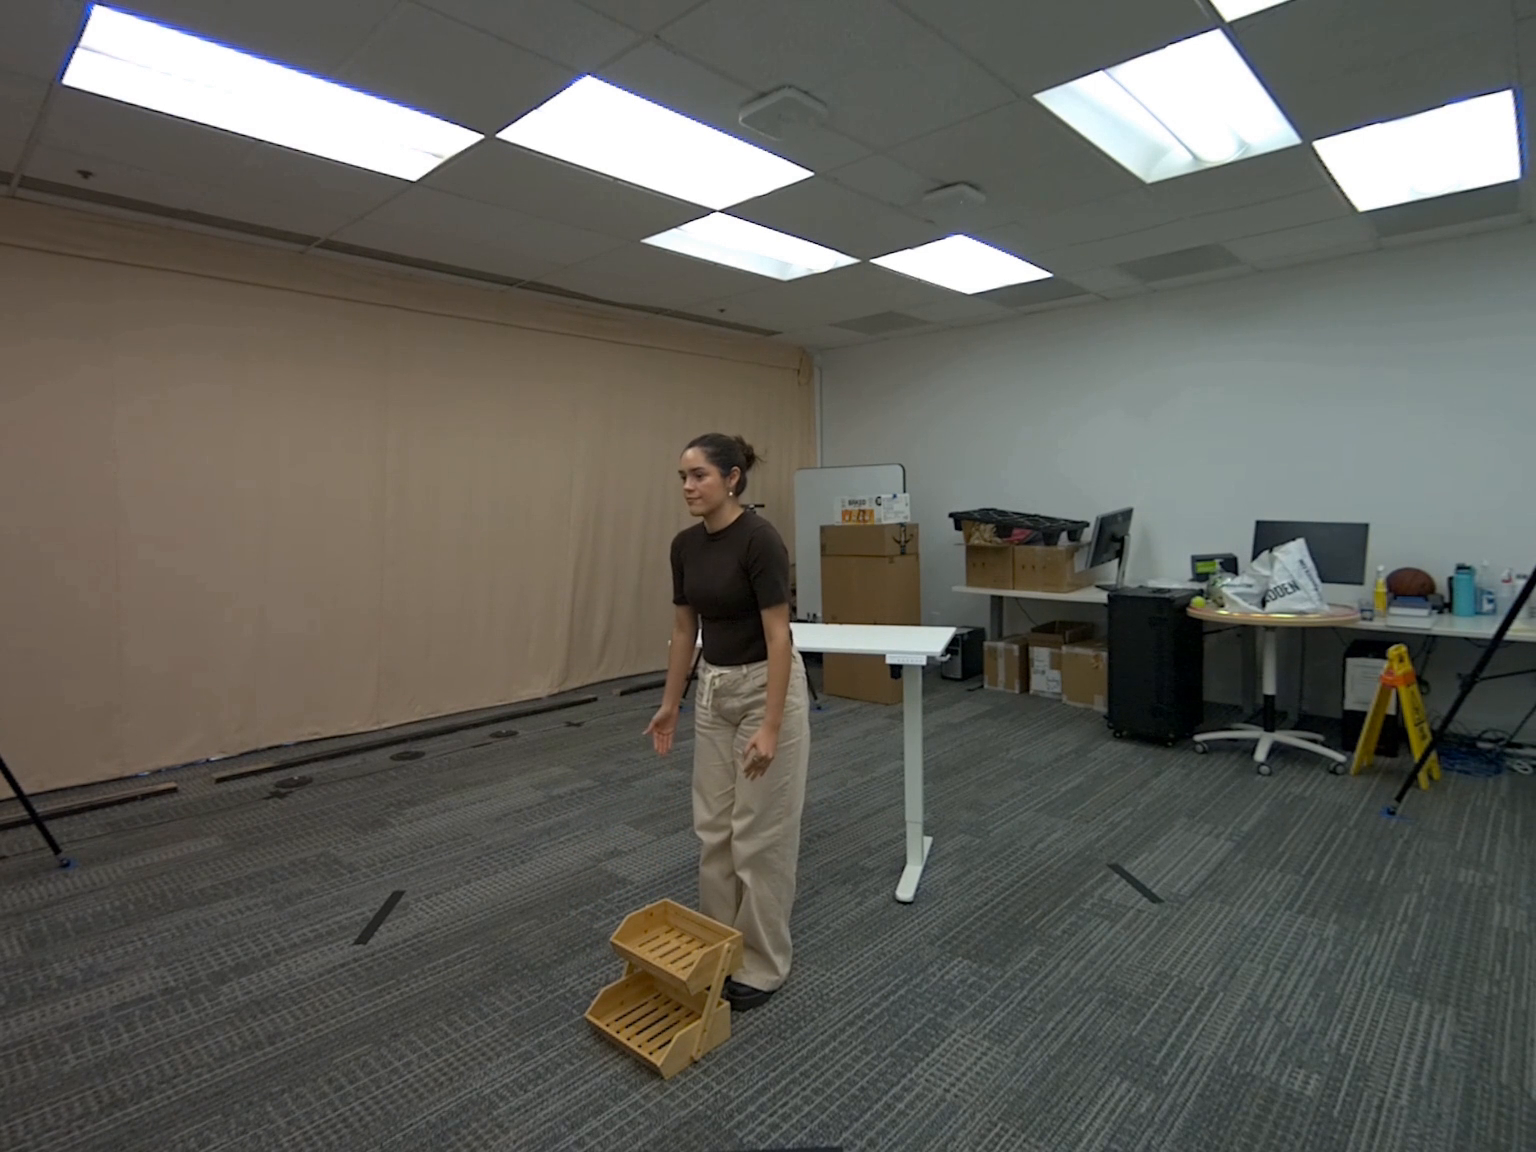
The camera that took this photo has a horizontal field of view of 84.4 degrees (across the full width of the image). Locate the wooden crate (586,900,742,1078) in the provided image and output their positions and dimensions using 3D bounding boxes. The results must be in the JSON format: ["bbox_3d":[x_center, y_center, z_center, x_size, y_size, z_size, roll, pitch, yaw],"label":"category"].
[{"bbox_3d":[-0.278,1.082,2.225,0.335,0.273,0.293,3,4,42],"label":"wooden crate"}]
